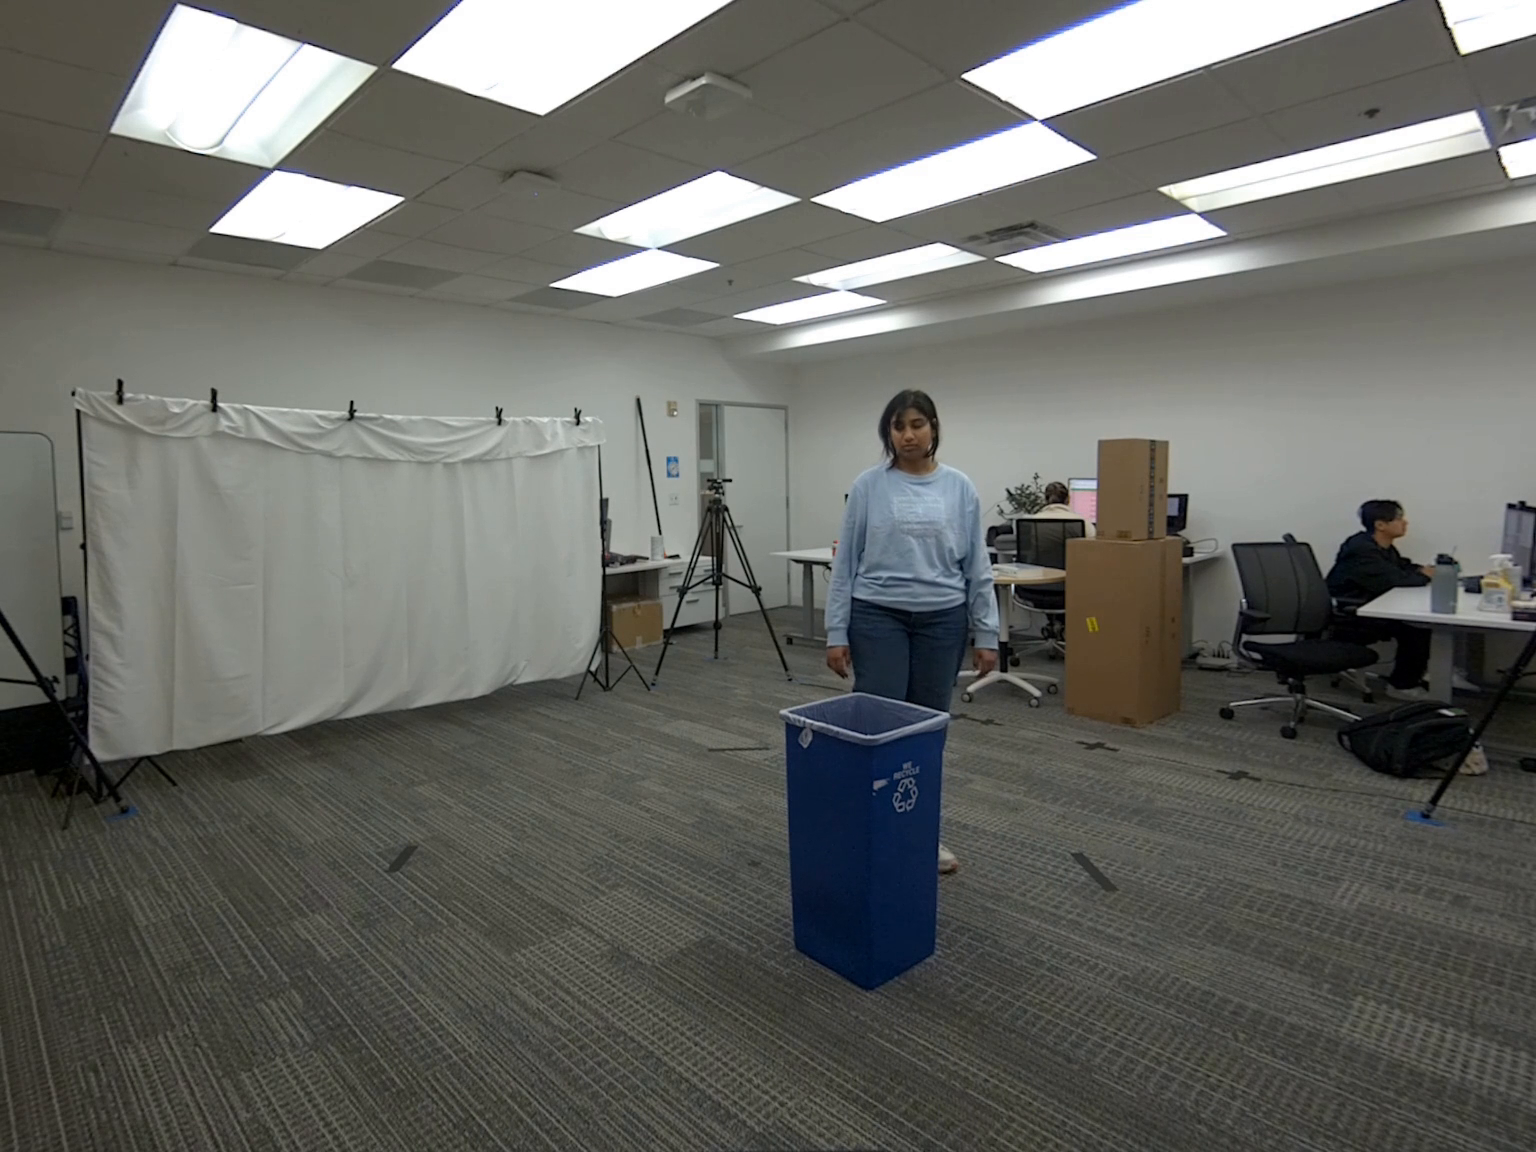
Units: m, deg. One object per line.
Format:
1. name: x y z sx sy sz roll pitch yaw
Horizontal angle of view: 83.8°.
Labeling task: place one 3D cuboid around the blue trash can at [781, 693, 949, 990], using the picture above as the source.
1. blue trash can: 0.288 0.752 2.513 0.364 0.711 0.390 -4 6 -42
